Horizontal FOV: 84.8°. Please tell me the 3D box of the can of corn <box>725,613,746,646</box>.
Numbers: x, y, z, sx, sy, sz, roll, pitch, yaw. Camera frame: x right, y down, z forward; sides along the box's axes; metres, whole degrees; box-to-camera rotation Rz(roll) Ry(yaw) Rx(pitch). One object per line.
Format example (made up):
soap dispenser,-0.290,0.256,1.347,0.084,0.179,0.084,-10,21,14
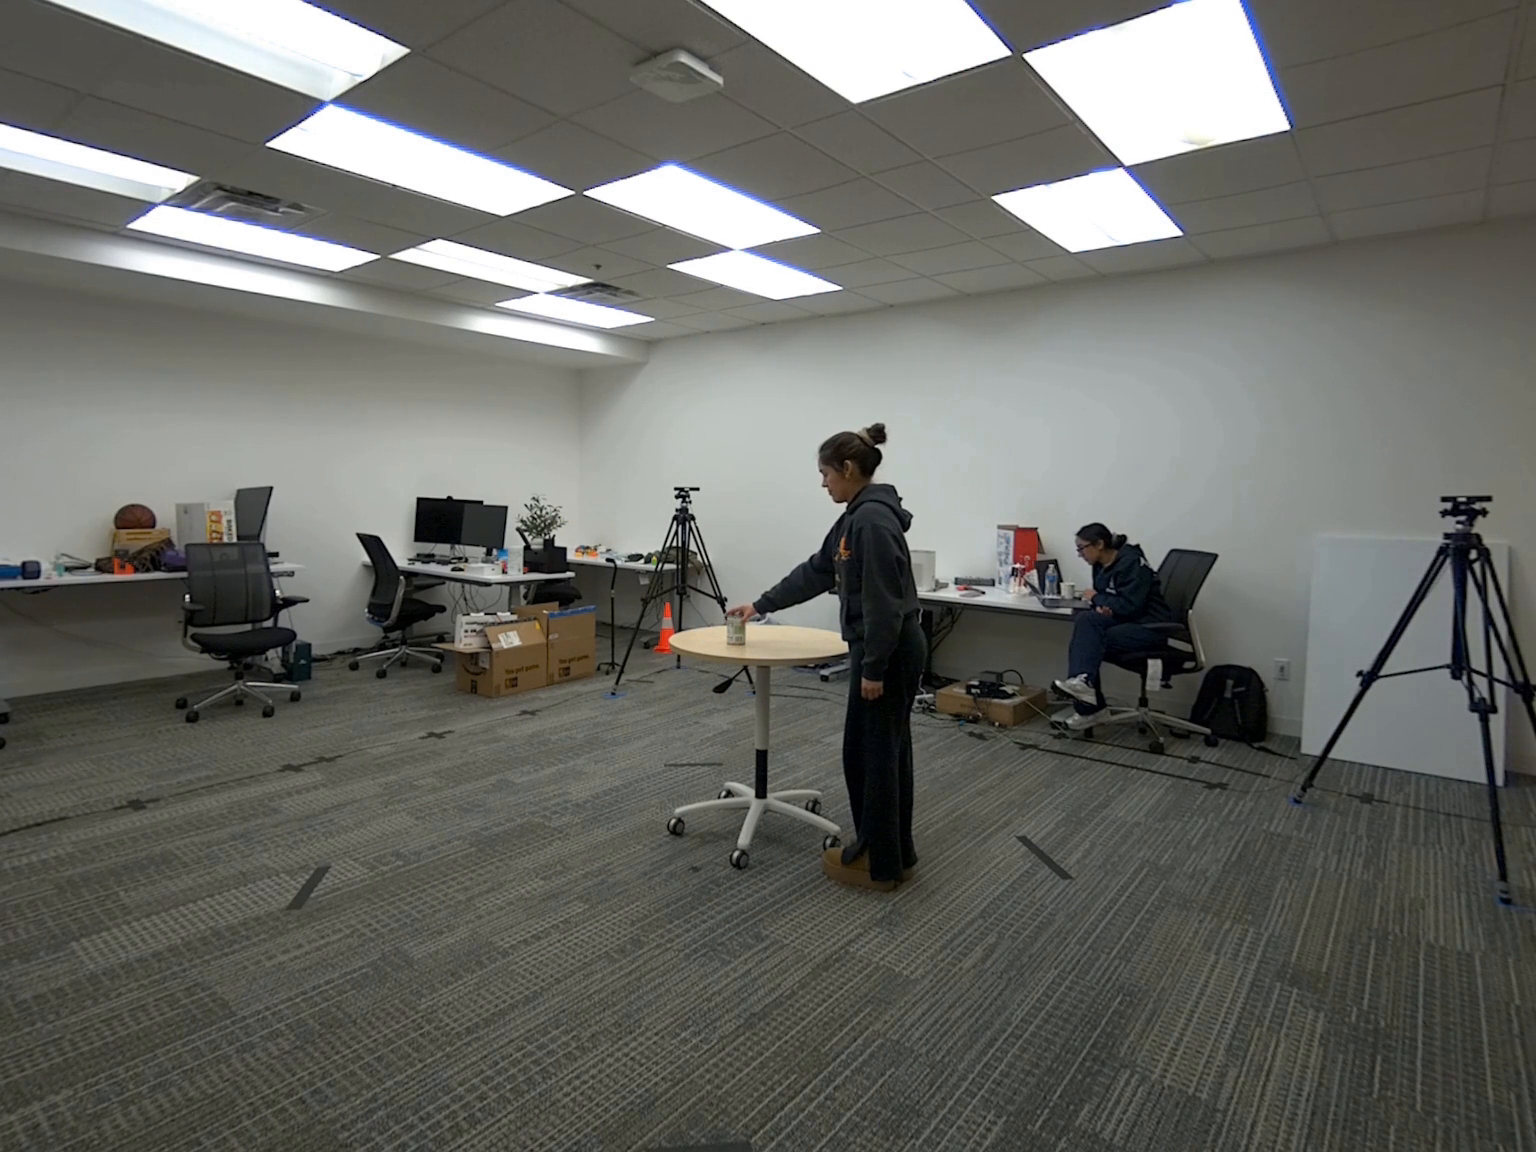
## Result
can of corn,-0.125,0.207,3.335,0.074,0.111,0.074,1,3,-2
